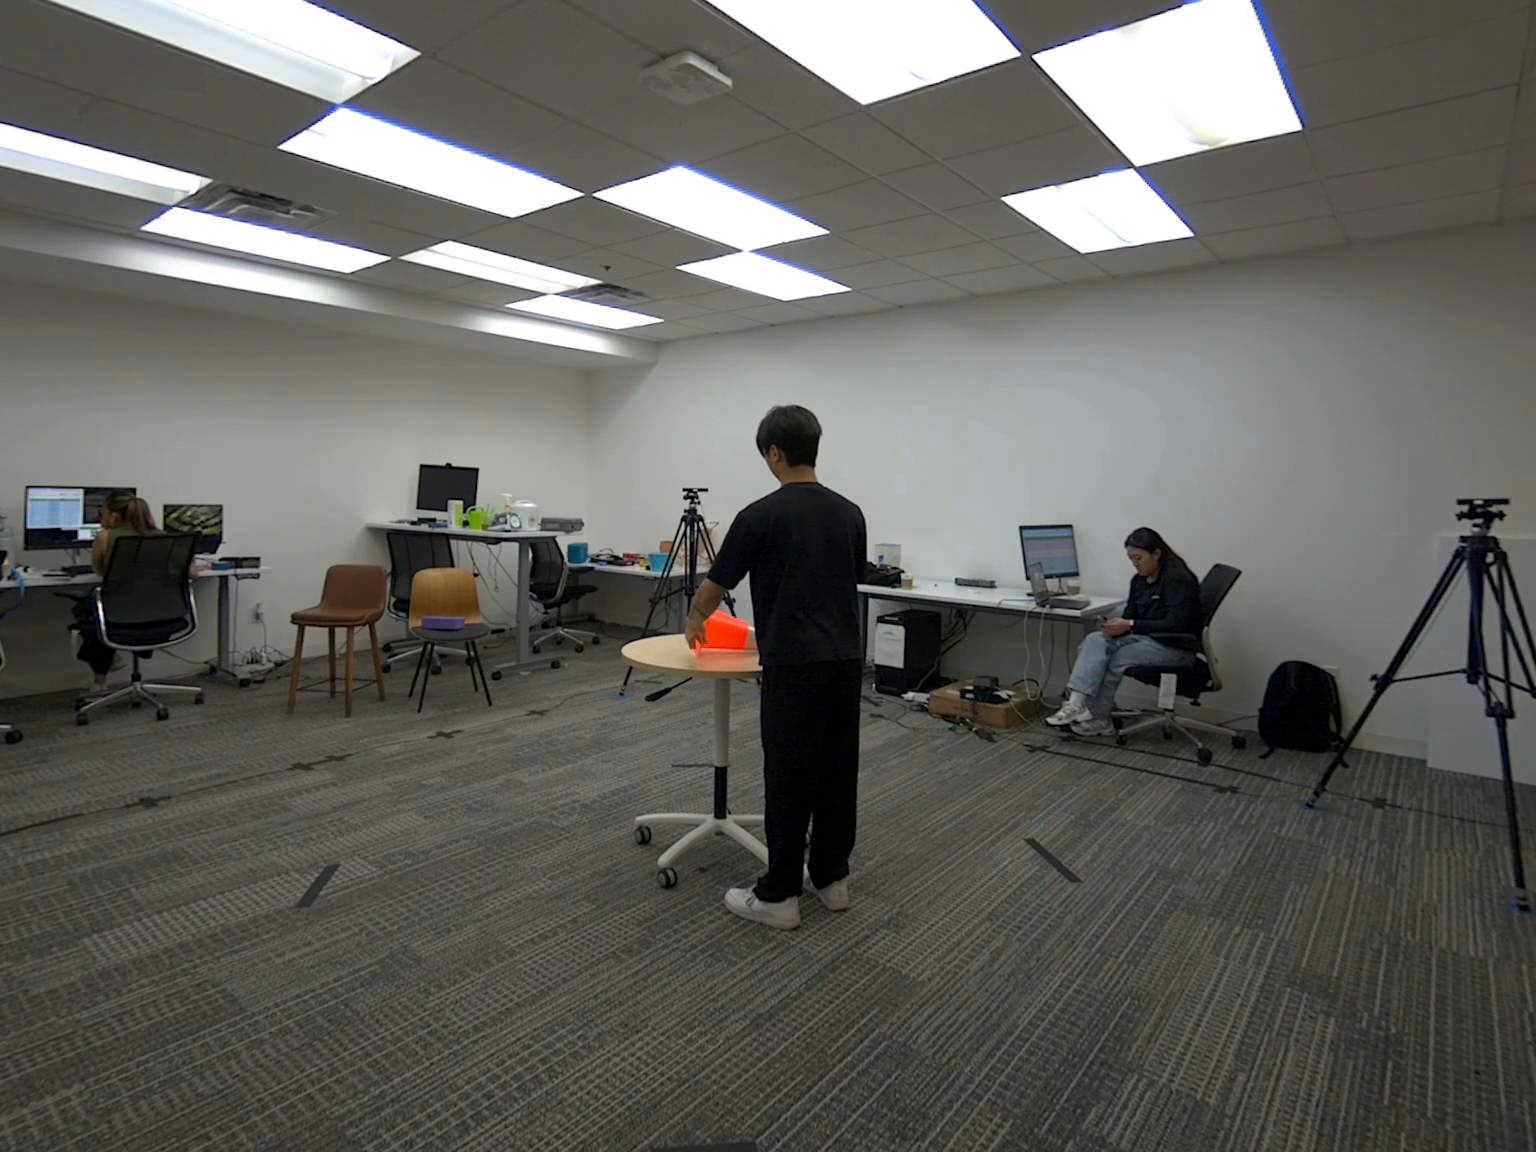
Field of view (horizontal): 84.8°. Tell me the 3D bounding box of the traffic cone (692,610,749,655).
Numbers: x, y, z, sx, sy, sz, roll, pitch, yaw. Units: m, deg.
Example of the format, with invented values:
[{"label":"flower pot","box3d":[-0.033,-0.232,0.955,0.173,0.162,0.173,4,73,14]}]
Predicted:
[{"label":"traffic cone","box3d":[-0.070,0.223,3.189,0.379,0.204,0.206,11,4,-11]}]
